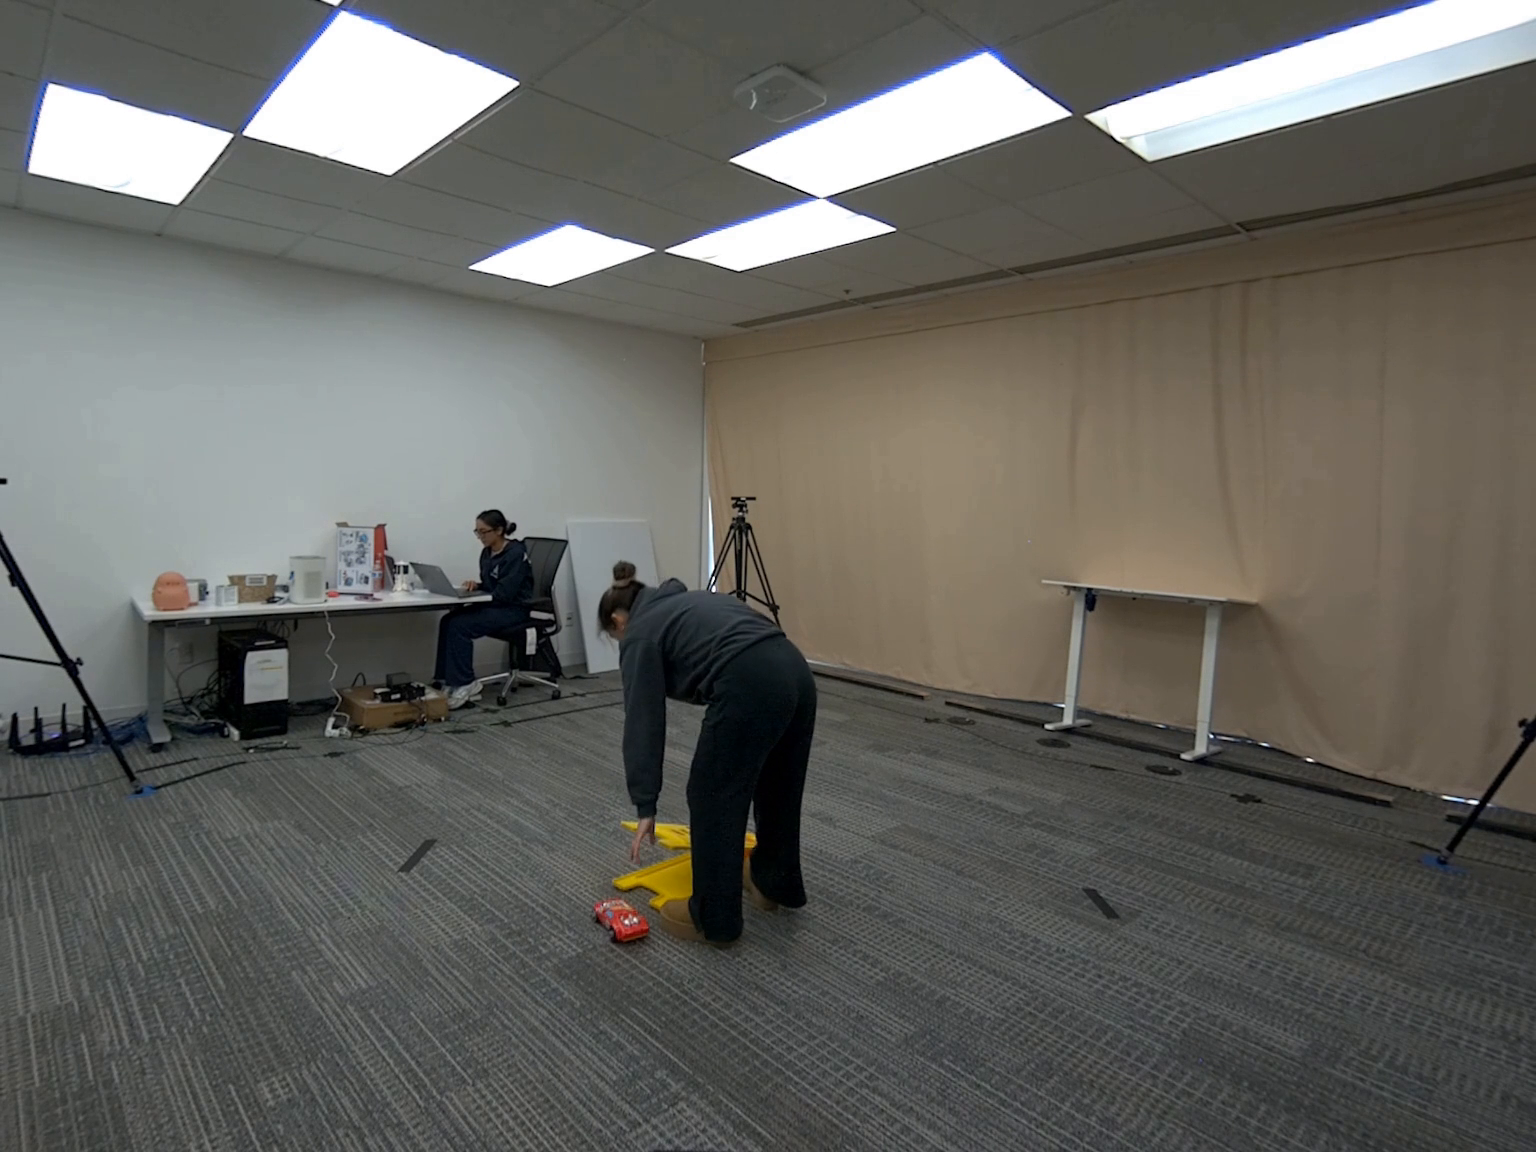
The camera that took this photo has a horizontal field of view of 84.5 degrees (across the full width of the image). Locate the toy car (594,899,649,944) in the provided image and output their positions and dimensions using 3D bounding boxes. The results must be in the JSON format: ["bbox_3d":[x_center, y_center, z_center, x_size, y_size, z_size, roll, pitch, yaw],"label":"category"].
[{"bbox_3d":[-0.472,1.103,2.706,0.127,0.083,0.259,-3,-3,-33],"label":"toy car"}]
